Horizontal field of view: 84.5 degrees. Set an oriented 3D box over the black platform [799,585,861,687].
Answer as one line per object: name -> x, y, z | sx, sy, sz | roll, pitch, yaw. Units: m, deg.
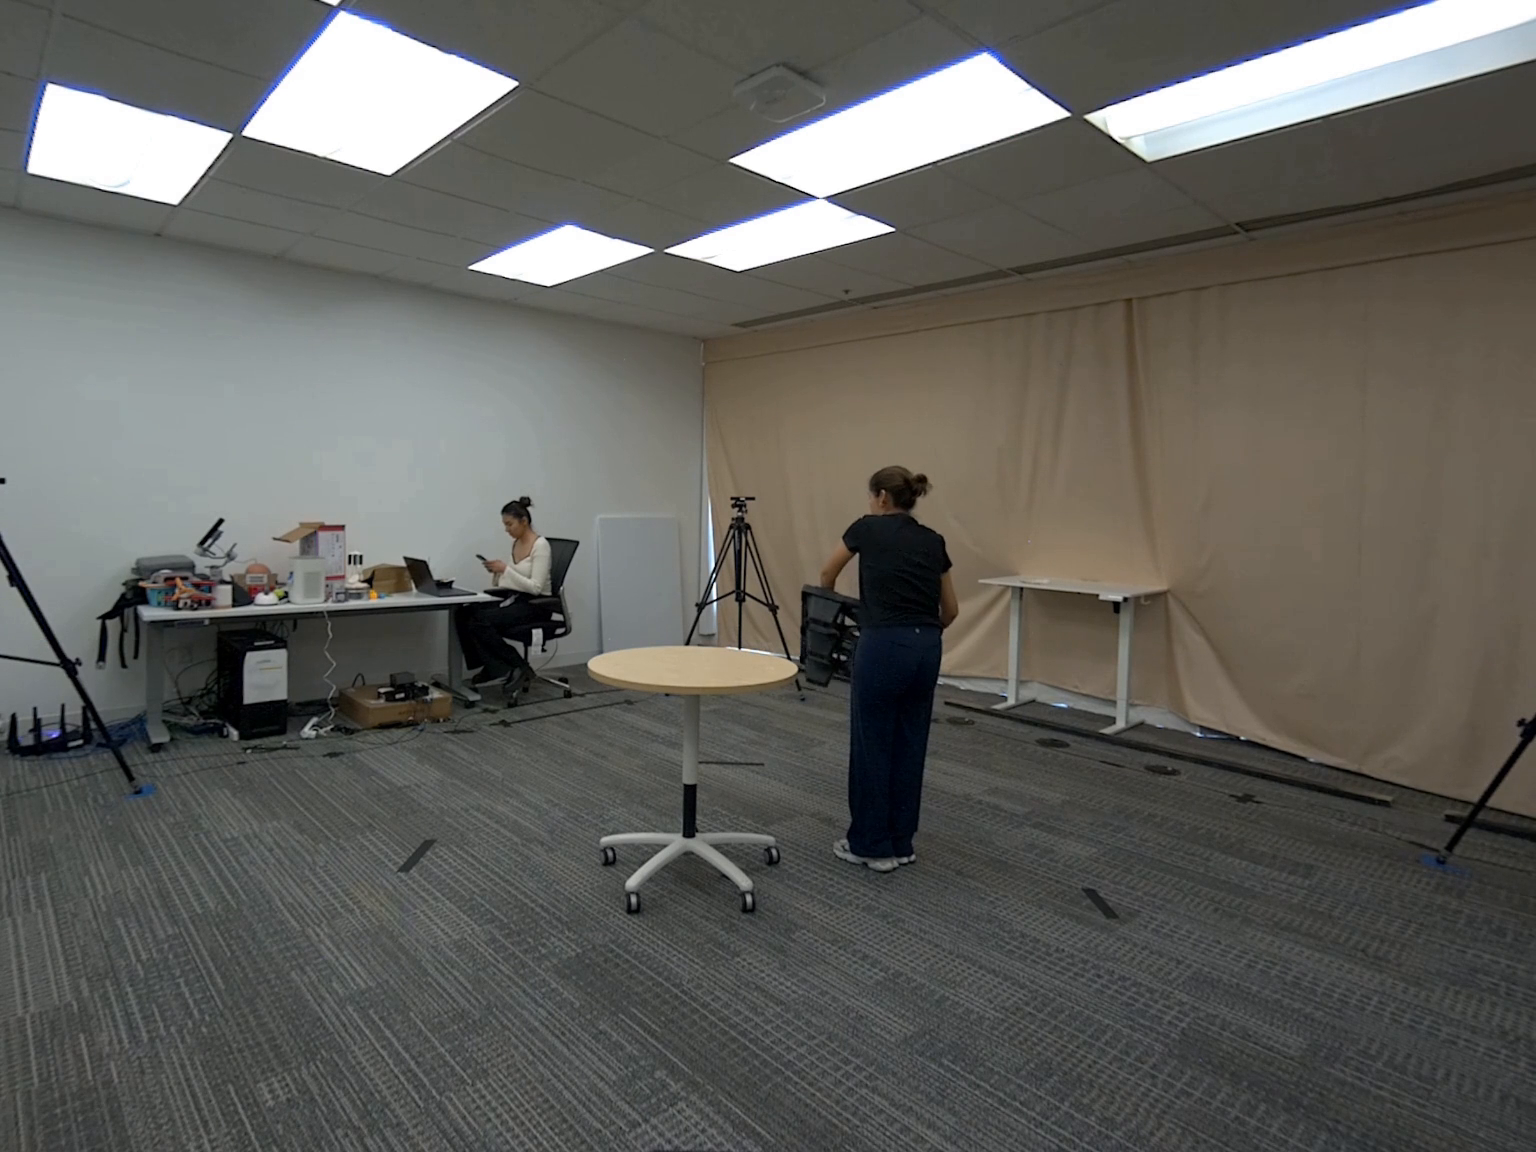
black platform -> 0.405, 0.350, 3.753 | 0.611, 0.145, 0.789 | 16, -29, 9
